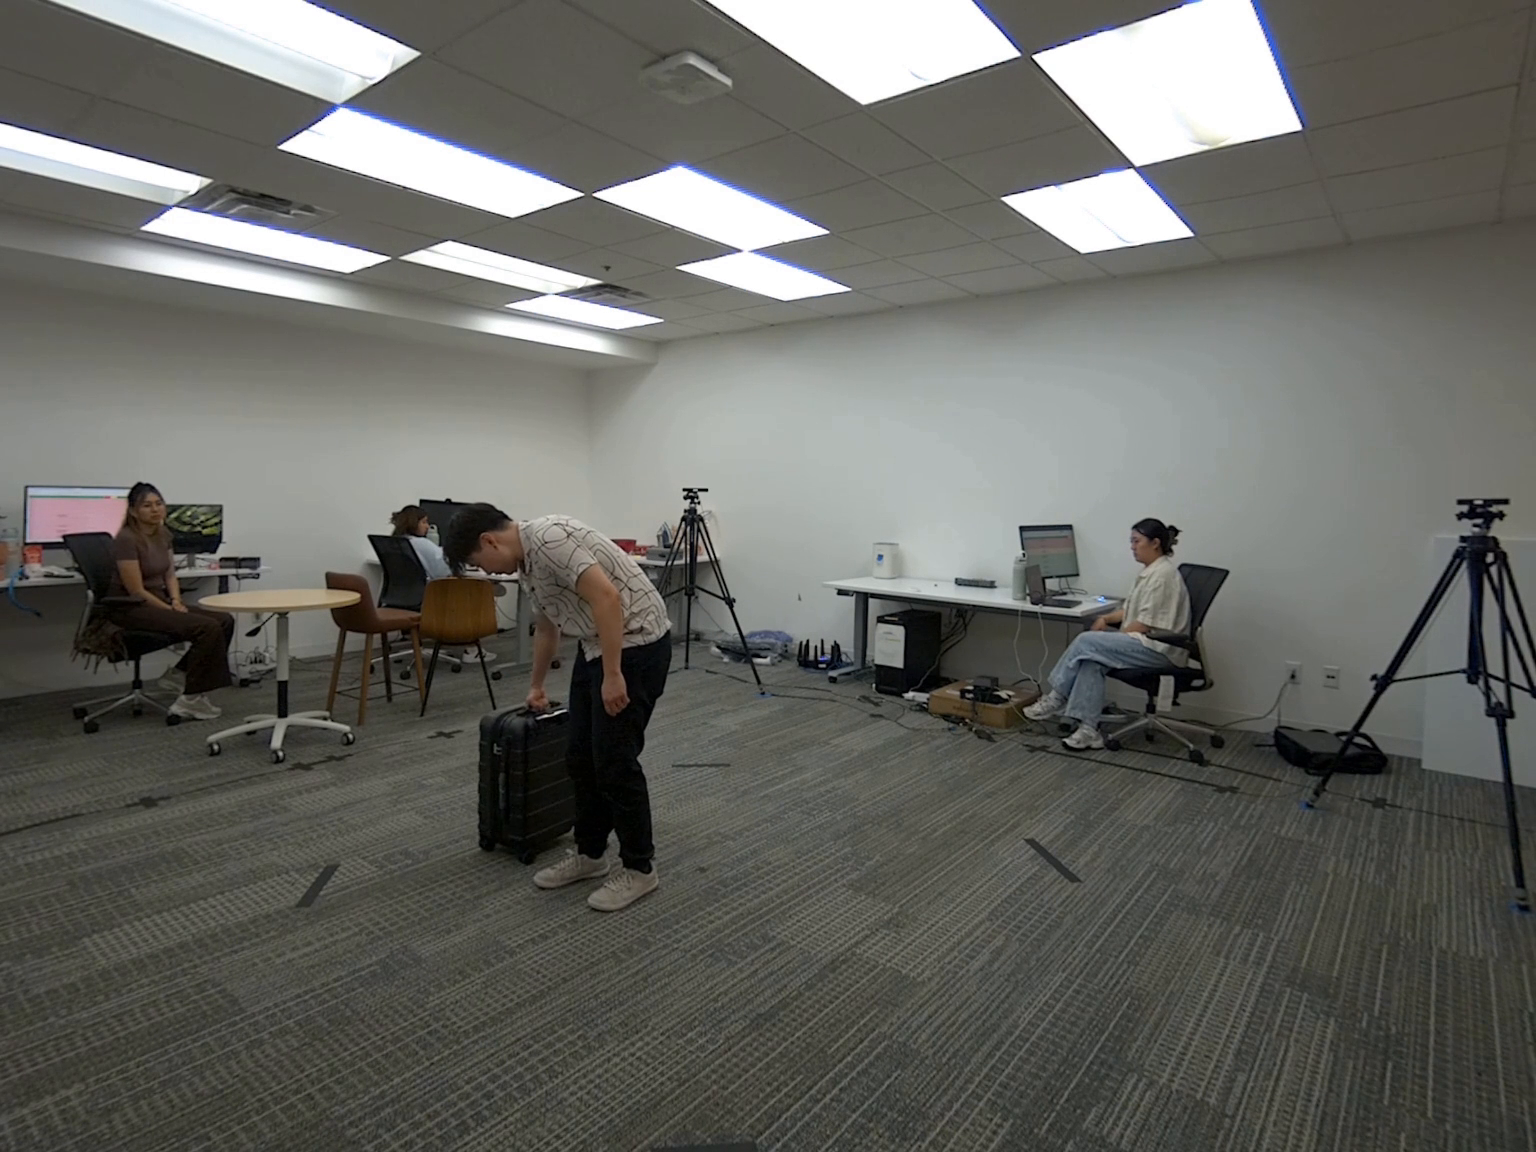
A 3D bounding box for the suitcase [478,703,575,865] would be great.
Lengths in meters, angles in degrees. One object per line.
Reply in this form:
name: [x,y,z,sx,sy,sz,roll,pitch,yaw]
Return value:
suitcase: [-0.930,0.766,3.282,0.256,0.548,0.365,1,4,34]
